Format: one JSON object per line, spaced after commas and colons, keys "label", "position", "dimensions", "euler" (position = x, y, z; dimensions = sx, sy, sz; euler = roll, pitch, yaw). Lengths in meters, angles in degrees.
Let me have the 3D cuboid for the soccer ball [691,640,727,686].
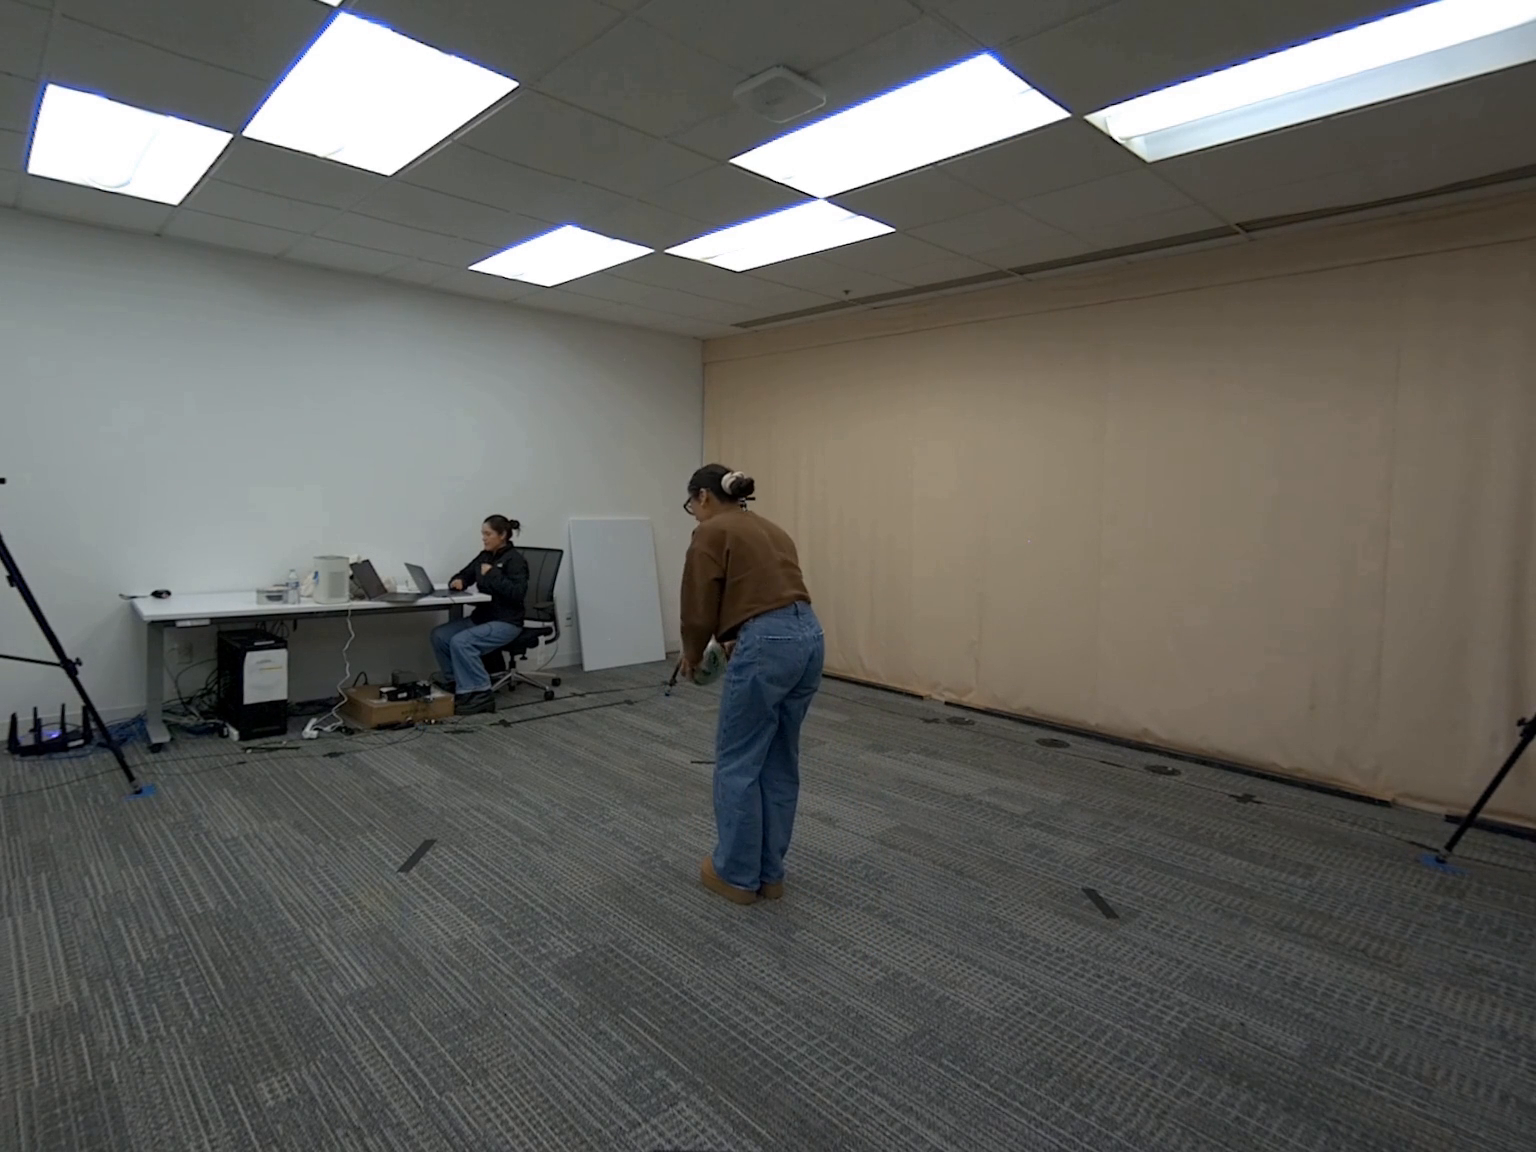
{"label": "soccer ball", "position": [-0.255, 0.331, 3.208], "dimensions": [0.187, 0.187, 0.188], "euler": [1, 4, -1]}
